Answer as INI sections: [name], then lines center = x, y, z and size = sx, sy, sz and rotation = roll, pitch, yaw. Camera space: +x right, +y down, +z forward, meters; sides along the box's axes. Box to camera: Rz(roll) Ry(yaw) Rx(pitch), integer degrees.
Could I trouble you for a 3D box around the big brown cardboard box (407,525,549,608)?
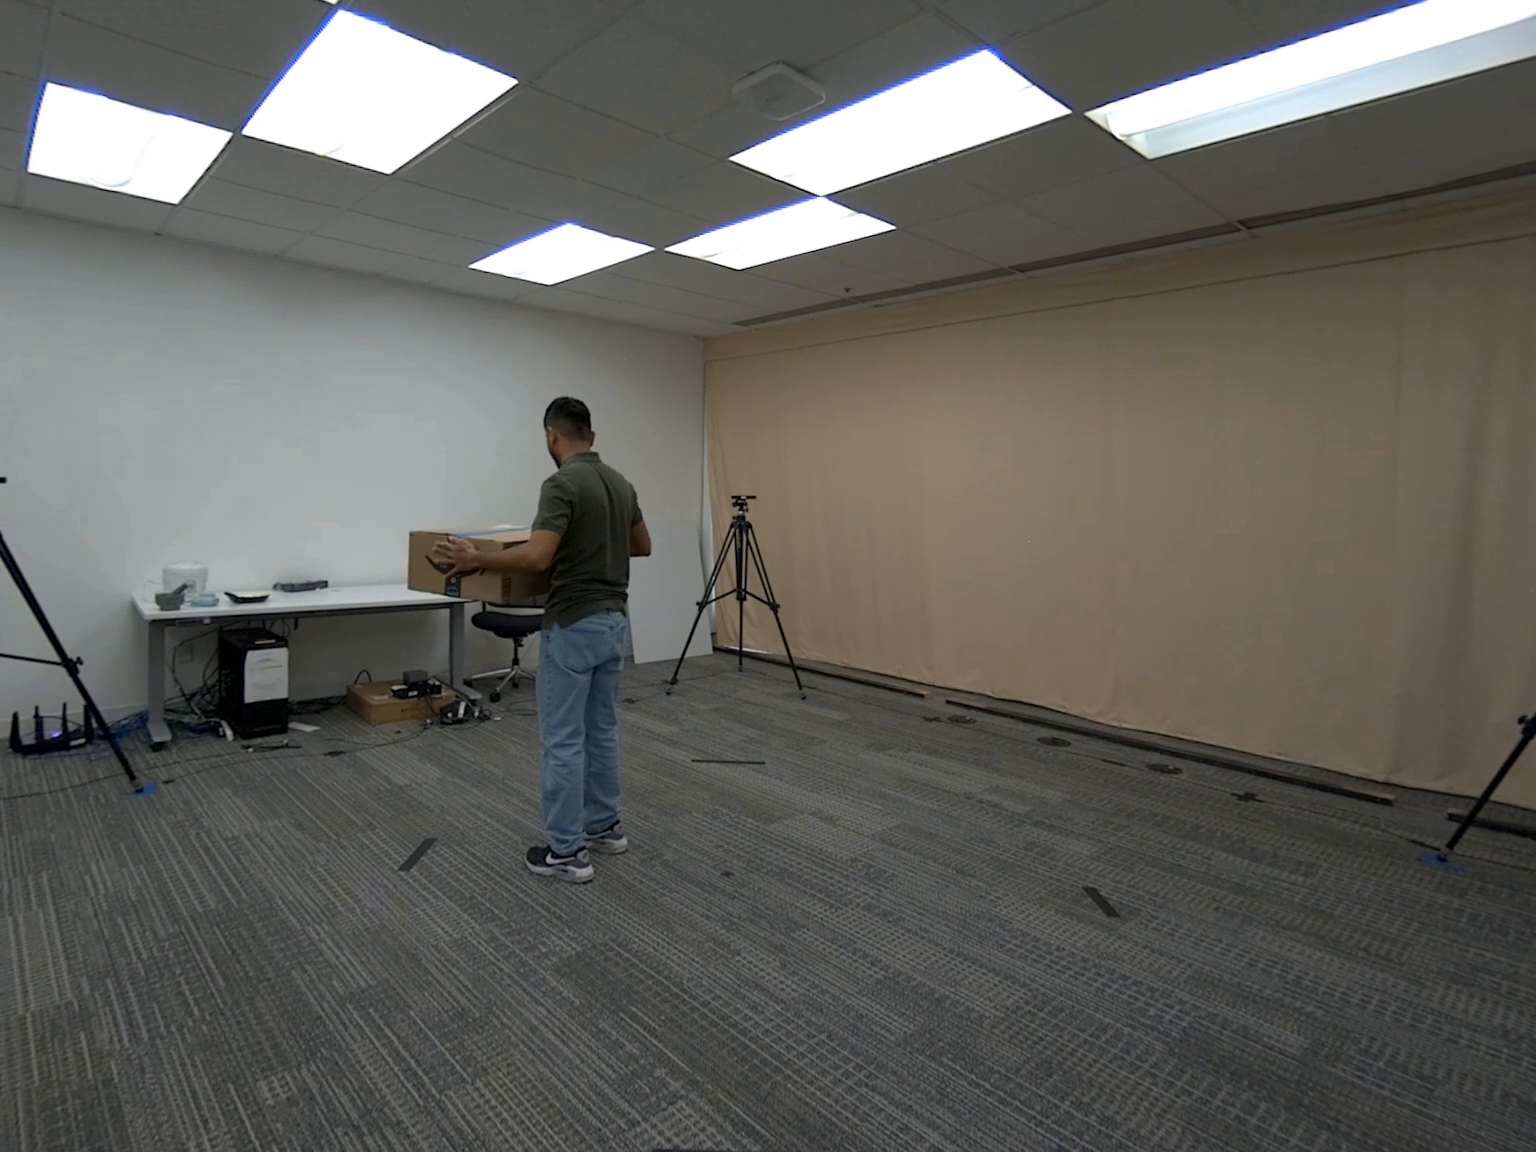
[big brown cardboard box]
center = -1.002, -0.062, 3.217
size = 0.425, 0.232, 0.582
rotation = 6, 8, 20
